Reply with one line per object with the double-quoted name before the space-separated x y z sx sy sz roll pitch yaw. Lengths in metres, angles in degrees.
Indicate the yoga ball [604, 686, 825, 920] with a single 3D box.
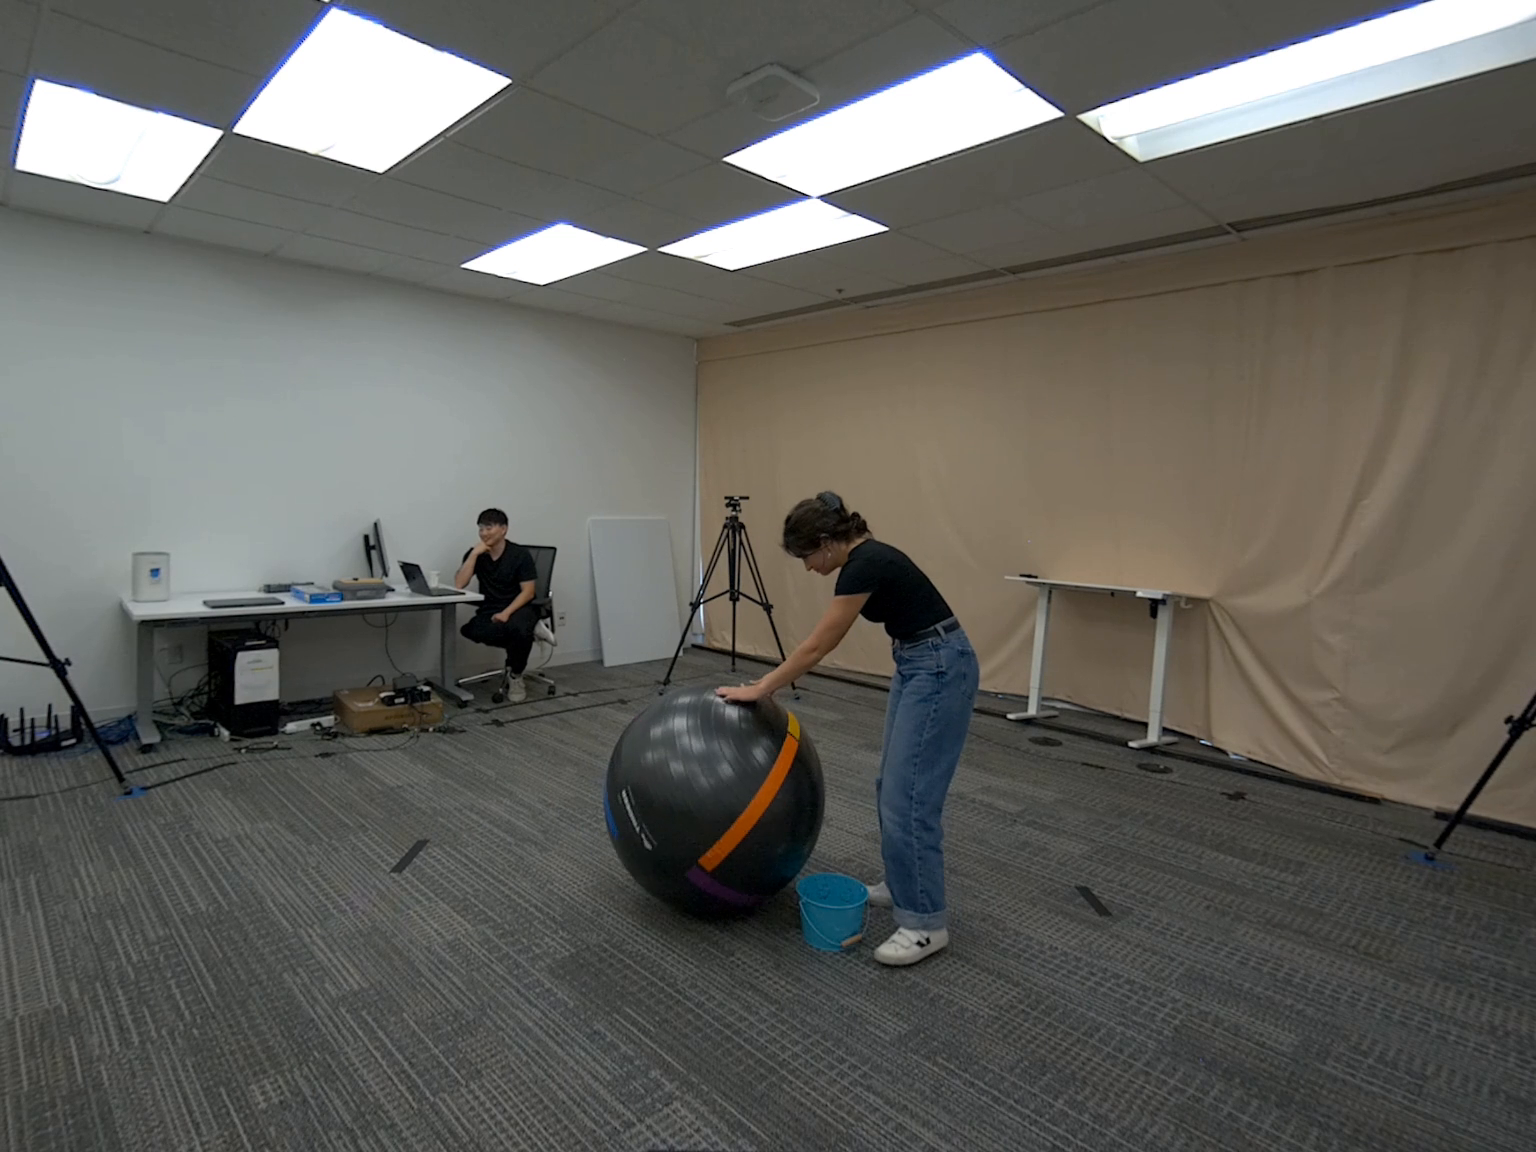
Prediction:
"yoga ball" -0.185 0.757 2.884 0.757 0.756 0.761 1 4 -1
